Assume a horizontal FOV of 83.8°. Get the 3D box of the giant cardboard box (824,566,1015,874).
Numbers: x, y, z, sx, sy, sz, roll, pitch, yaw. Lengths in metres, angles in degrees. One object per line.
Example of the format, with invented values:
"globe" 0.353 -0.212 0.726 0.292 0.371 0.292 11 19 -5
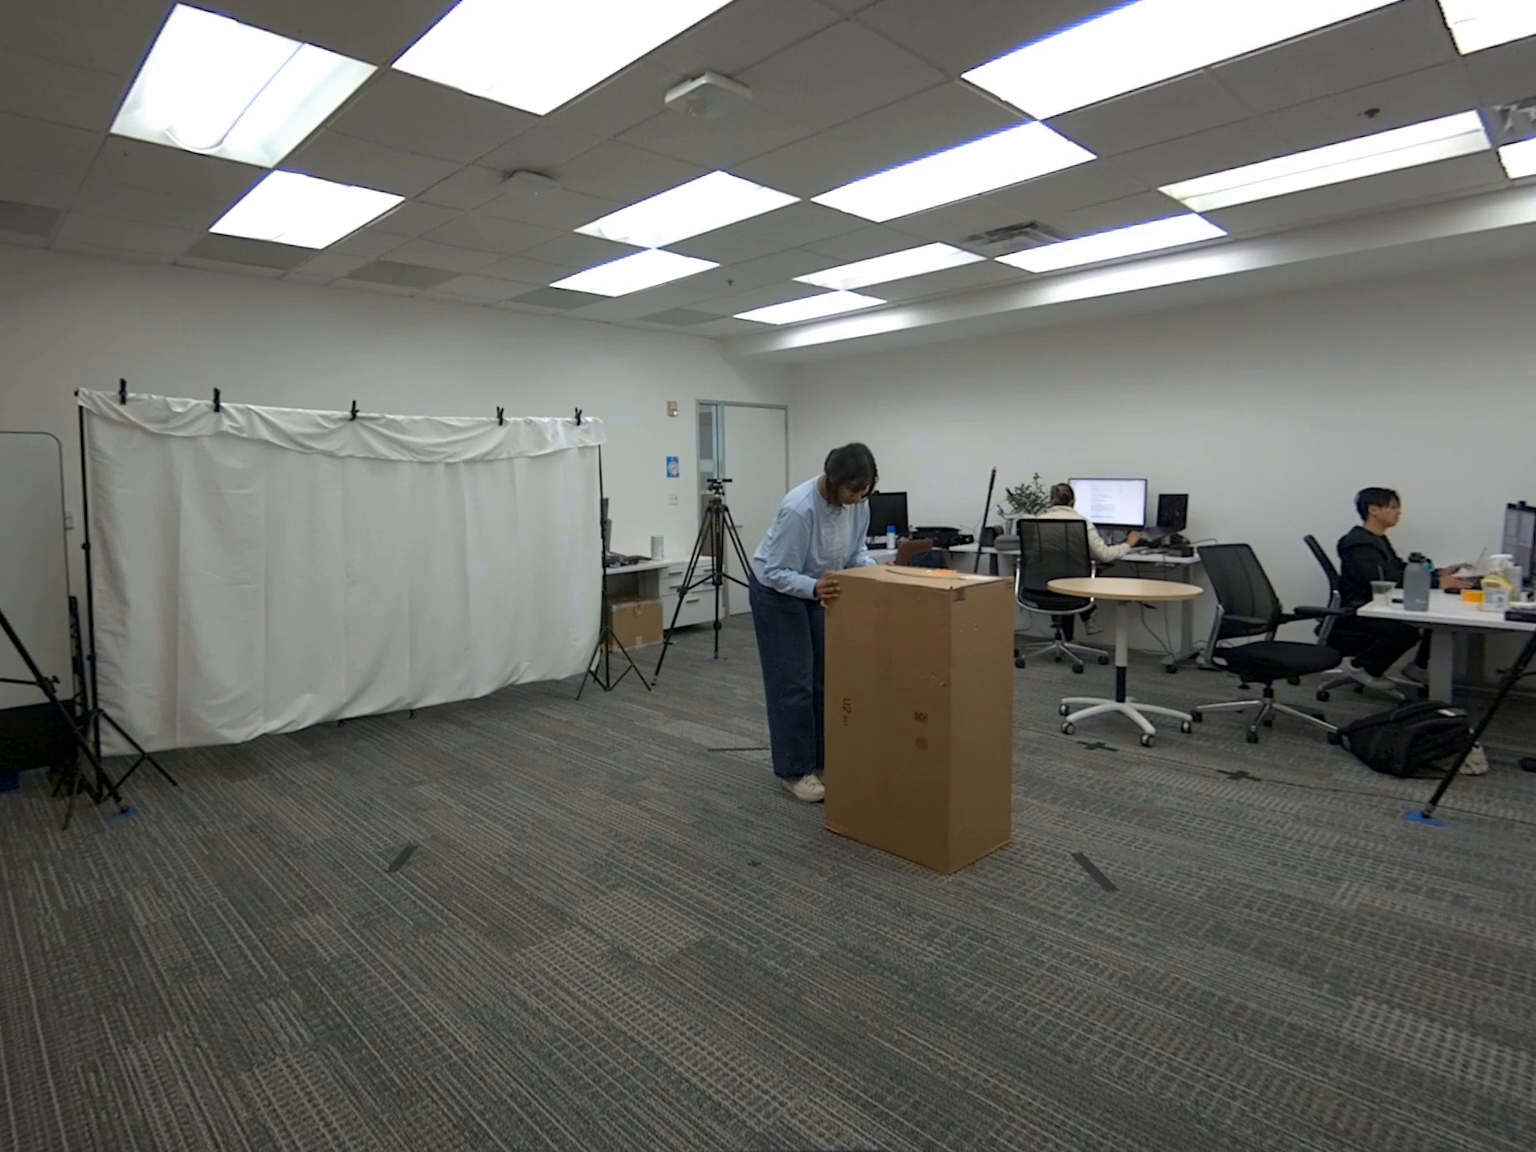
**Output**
"giant cardboard box" 0.579 0.507 3.295 0.415 1.021 0.595 -5 7 -44
